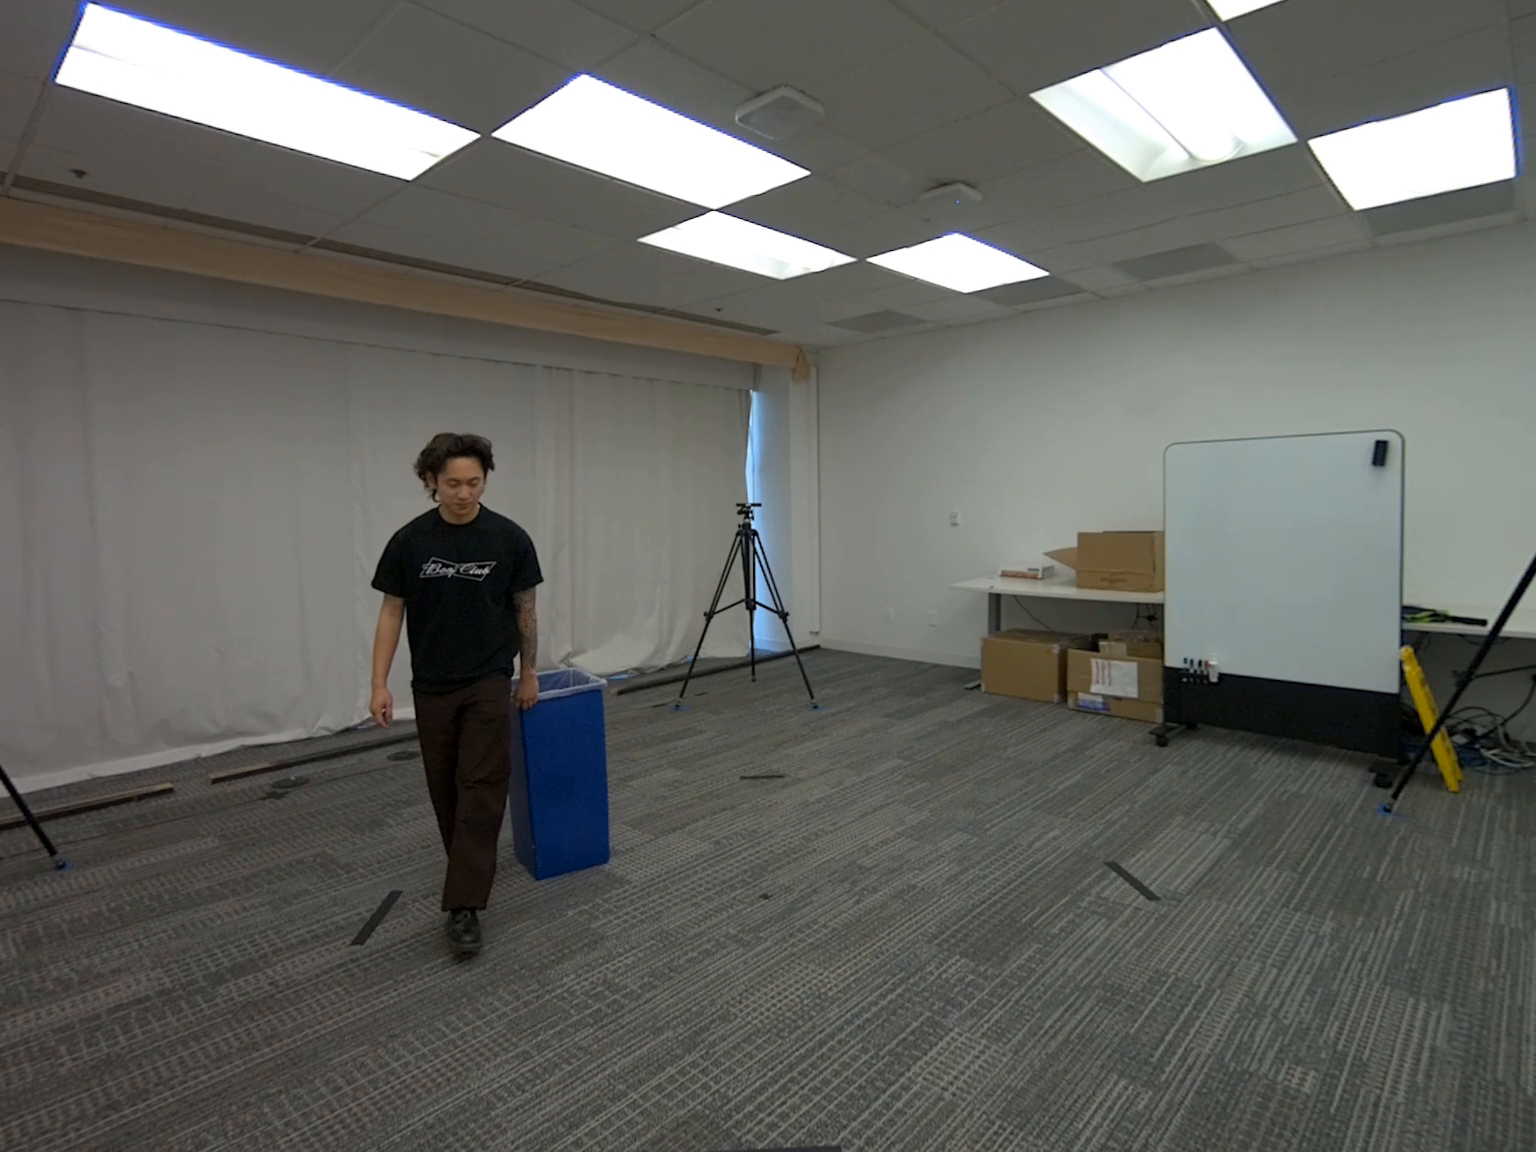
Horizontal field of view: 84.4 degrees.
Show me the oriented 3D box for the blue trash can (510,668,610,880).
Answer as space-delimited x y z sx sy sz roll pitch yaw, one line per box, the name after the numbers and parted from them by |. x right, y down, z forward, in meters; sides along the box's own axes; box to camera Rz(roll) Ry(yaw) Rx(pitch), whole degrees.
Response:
-0.836 0.764 3.325 0.364 0.711 0.389 -6 5 -32 | blue trash can
